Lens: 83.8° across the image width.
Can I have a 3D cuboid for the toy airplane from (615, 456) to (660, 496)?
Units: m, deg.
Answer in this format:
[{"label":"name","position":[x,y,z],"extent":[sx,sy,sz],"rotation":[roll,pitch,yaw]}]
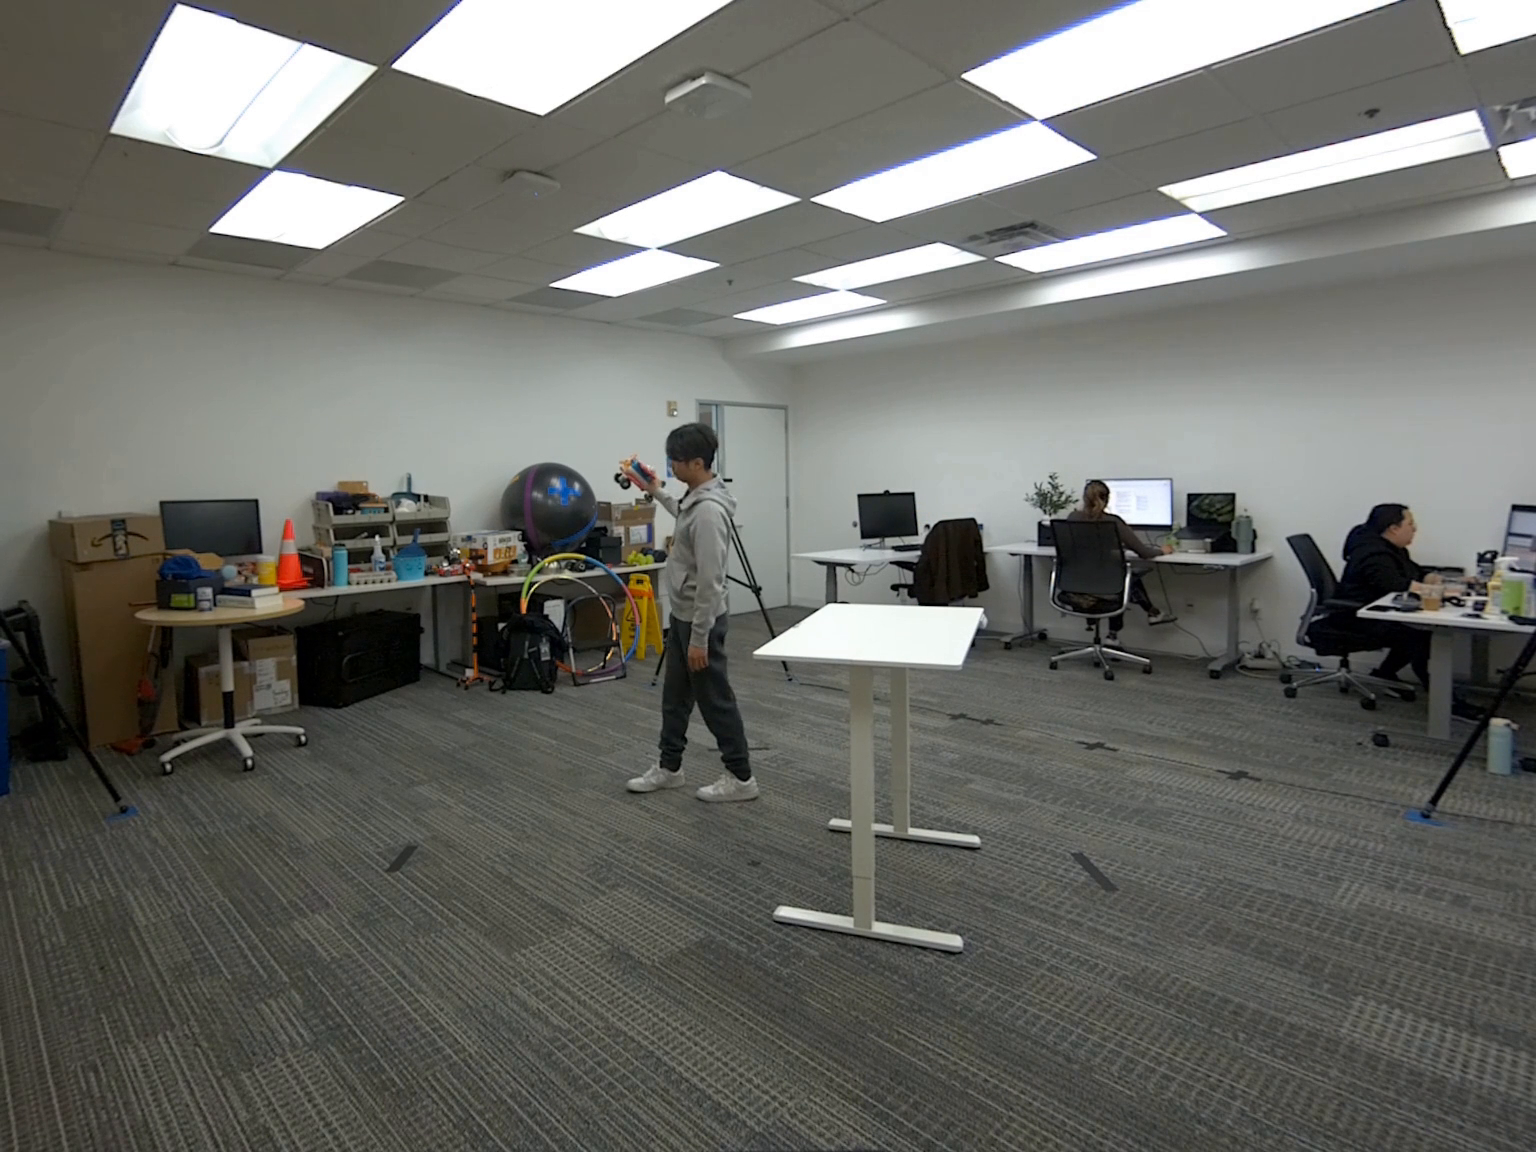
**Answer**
[{"label":"toy airplane","position":[-0.646,-0.488,4.276],"extent":[0.259,0.156,0.251],"rotation":[36,8,26]}]
